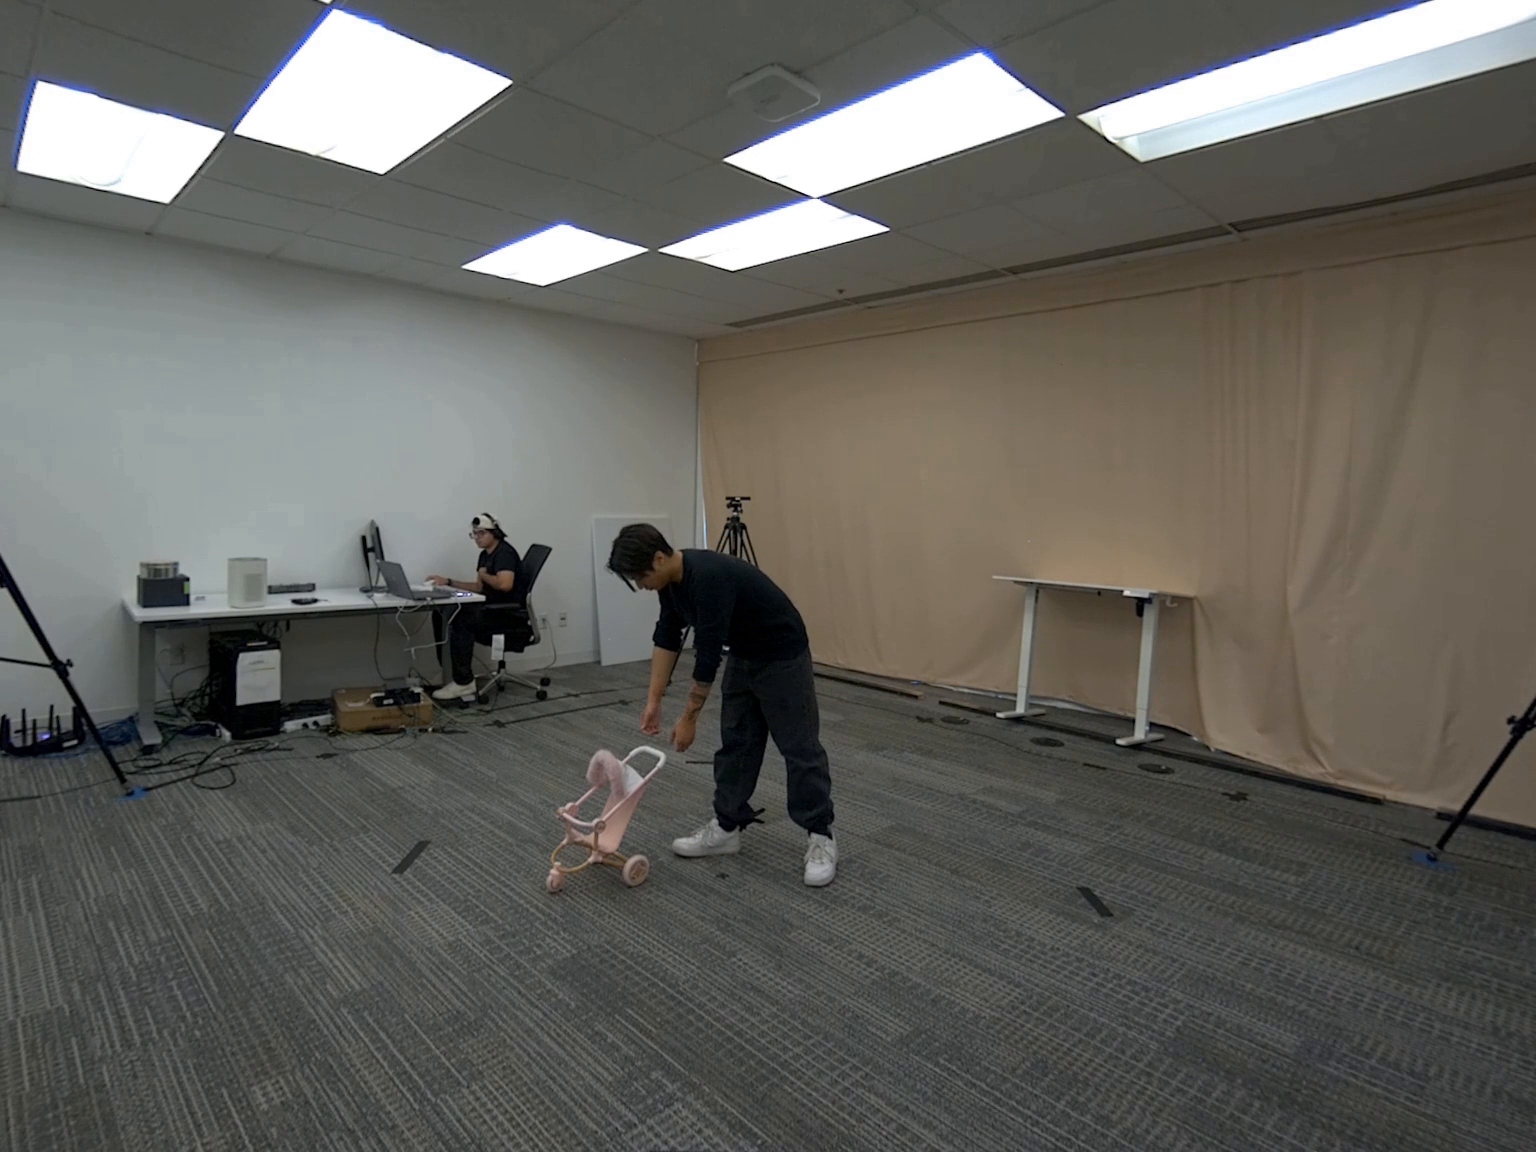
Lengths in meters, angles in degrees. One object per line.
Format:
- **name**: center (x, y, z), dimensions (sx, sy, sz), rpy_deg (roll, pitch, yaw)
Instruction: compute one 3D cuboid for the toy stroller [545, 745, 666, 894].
- **toy stroller**: center (-0.607, 0.876, 3.055), dimensions (0.332, 0.537, 0.288), rpy_deg (17, -7, -36)
